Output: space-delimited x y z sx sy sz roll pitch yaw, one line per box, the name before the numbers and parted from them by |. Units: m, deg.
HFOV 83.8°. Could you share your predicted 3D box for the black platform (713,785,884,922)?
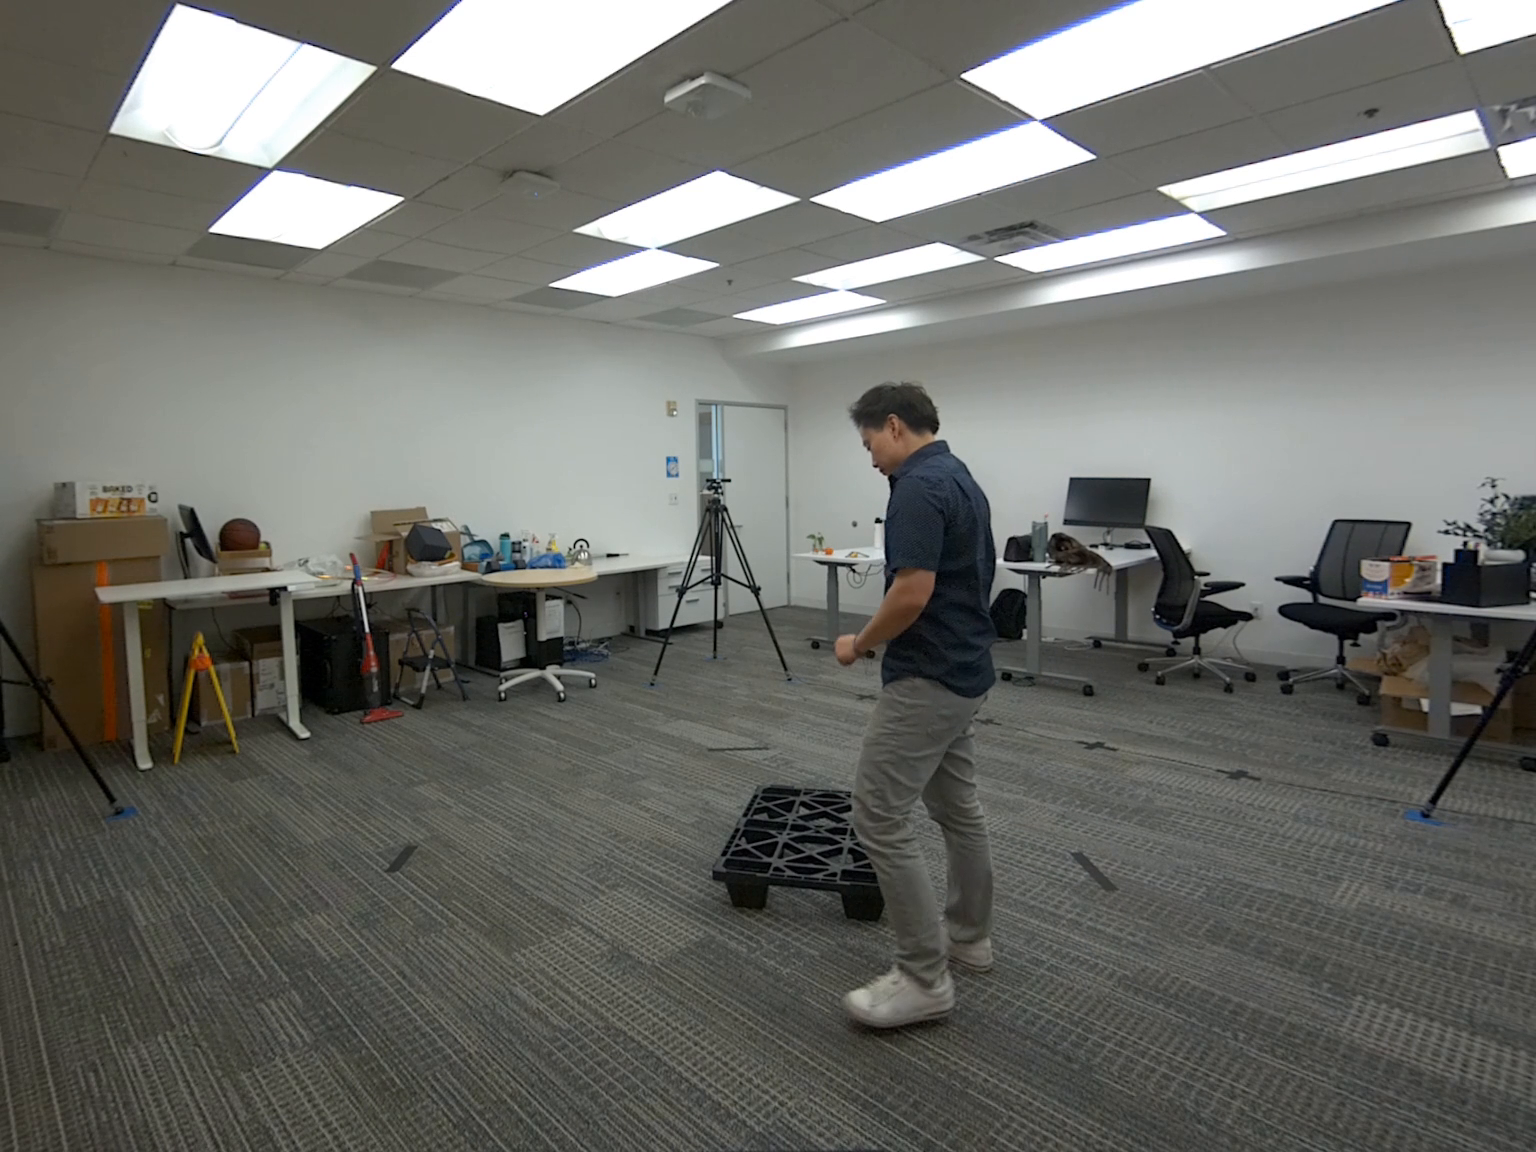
black platform | 0.179 0.975 3.084 0.613 0.143 0.799 0 6 12
